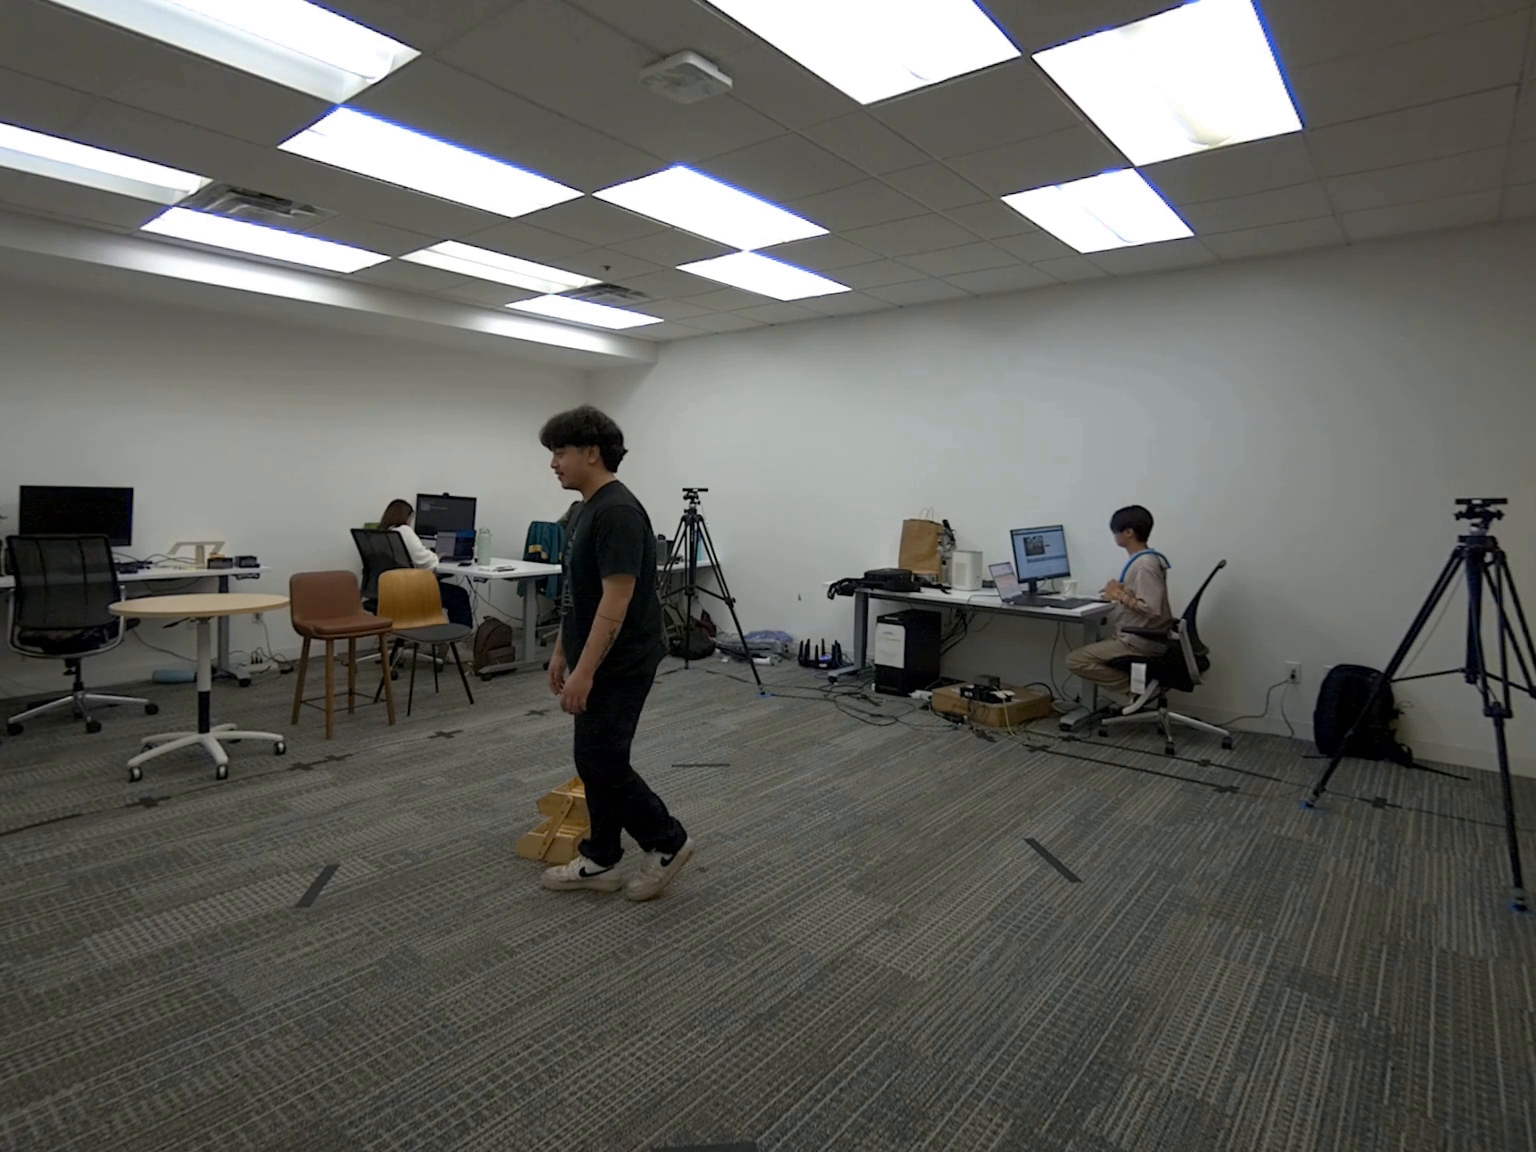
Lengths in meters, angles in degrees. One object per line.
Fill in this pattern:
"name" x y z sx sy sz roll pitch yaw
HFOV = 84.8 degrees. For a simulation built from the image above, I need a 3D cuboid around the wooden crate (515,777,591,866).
"wooden crate" -0.795 0.913 3.290 0.307 0.272 0.320 3 4 15
